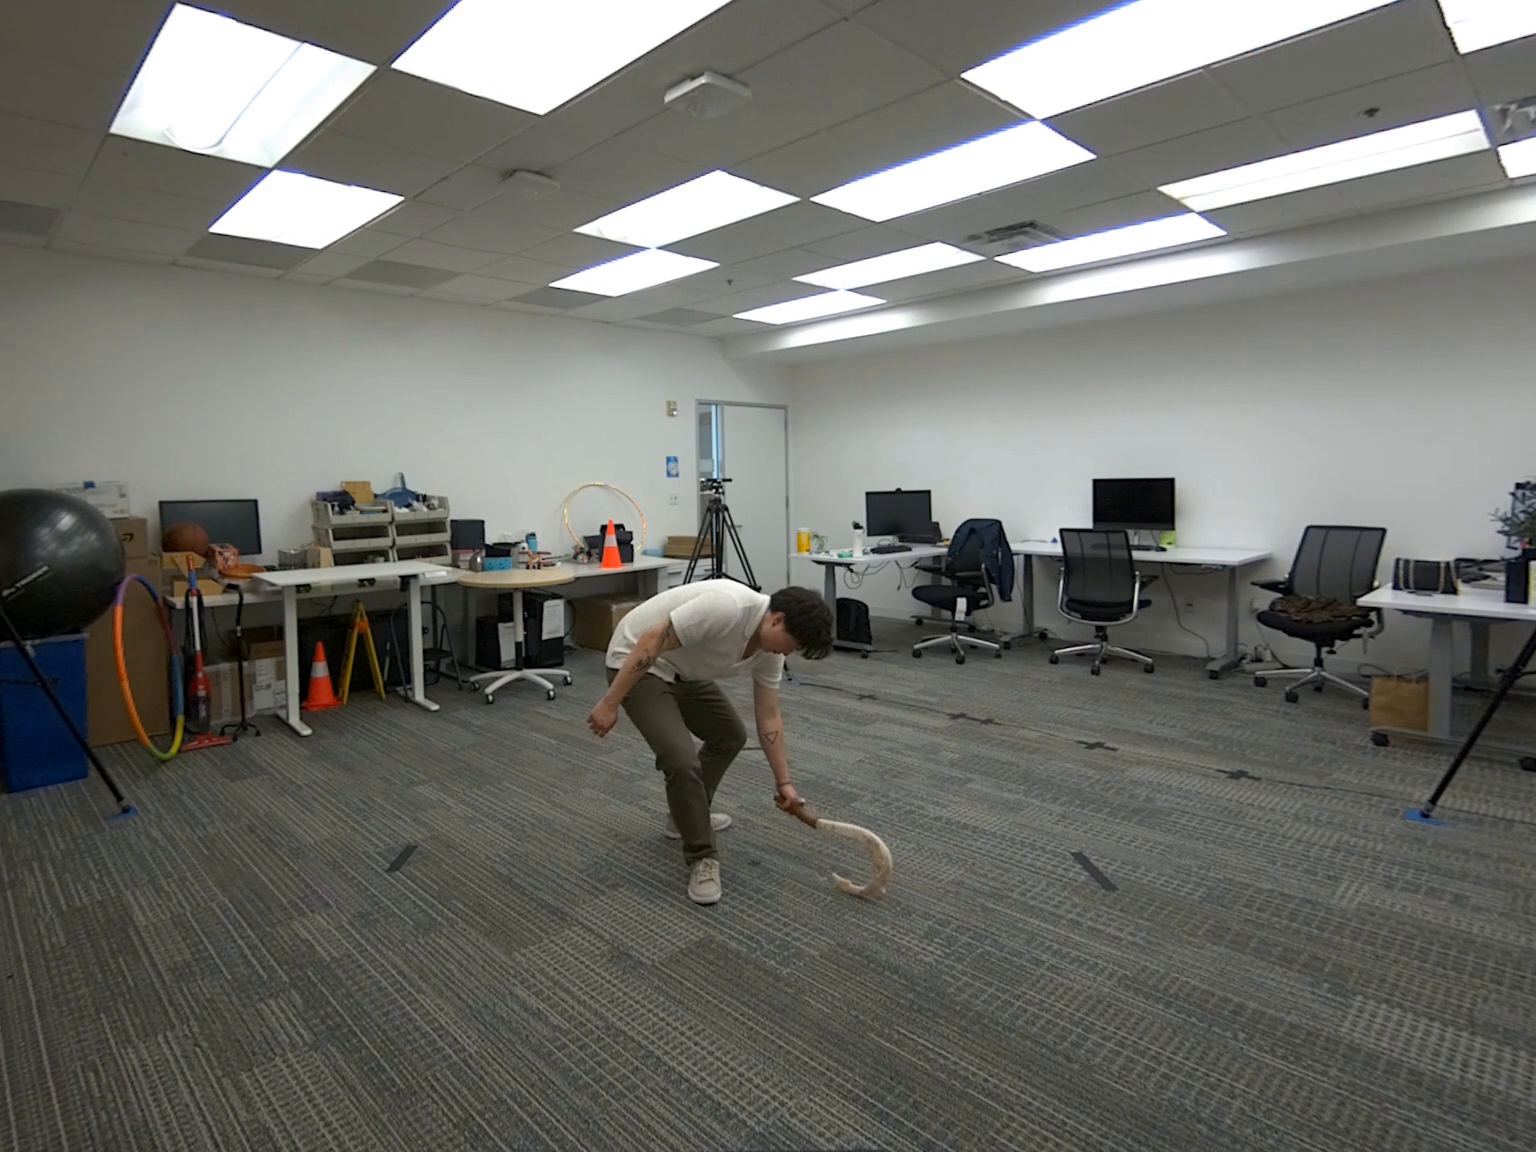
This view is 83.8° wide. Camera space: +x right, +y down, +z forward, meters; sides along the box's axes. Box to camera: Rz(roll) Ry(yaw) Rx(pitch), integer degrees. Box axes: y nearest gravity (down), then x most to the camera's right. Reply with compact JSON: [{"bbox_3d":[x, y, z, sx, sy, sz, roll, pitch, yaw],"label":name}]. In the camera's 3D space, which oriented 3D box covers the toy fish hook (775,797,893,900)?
[{"bbox_3d":[0.199,0.920,2.951,0.525,0.225,0.046,20,-1,39],"label":"toy fish hook"}]
